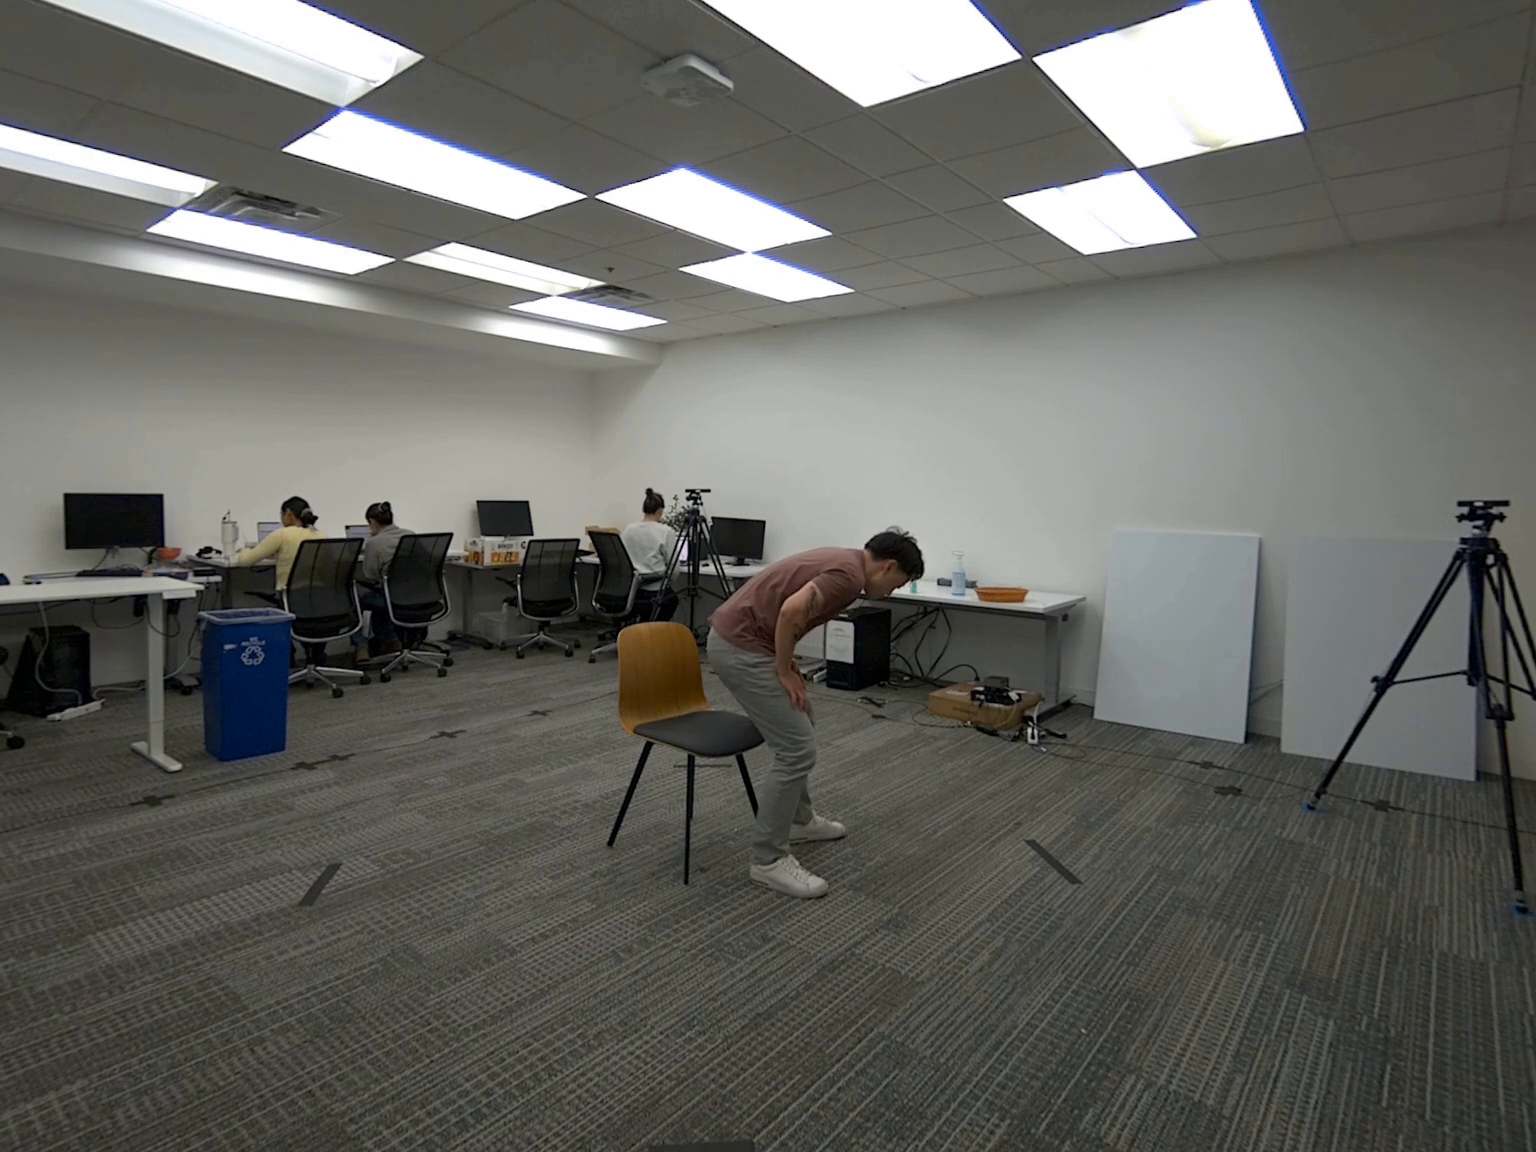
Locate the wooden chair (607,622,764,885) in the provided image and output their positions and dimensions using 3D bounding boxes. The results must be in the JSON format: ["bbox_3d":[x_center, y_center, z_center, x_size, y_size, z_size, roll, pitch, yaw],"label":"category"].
[{"bbox_3d":[-0.302,0.625,3.273,0.539,0.878,0.463,-2,0,44],"label":"wooden chair"}]
